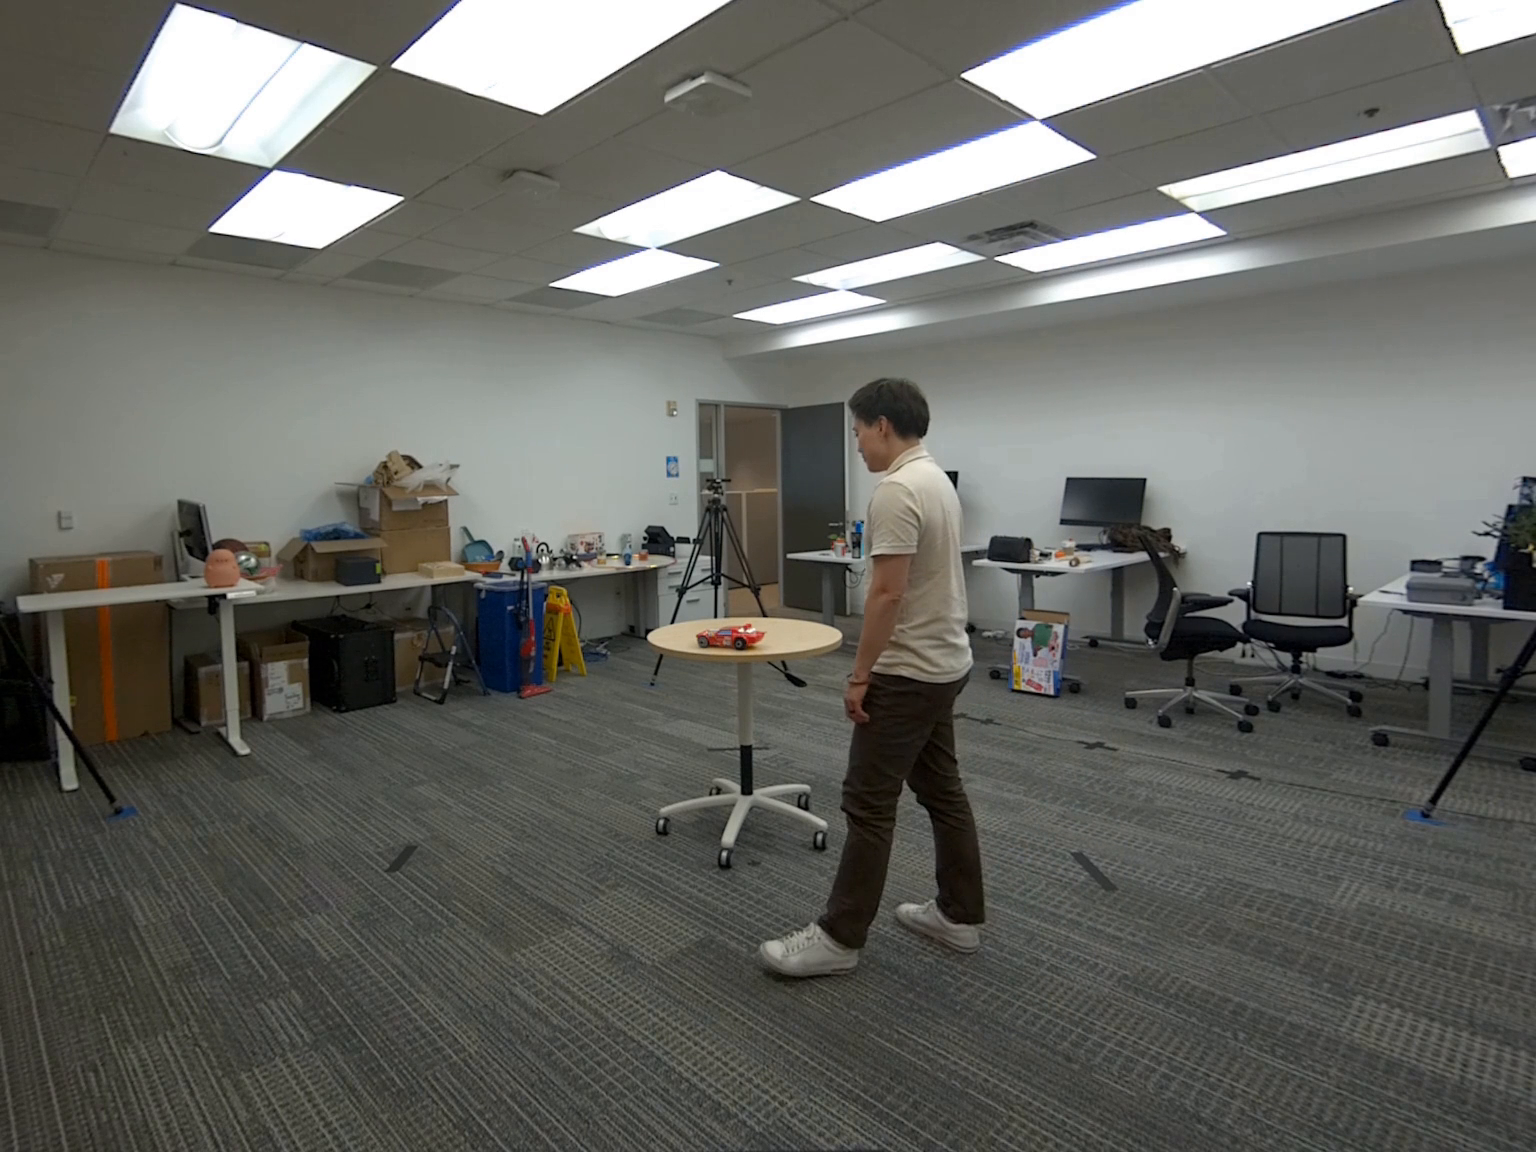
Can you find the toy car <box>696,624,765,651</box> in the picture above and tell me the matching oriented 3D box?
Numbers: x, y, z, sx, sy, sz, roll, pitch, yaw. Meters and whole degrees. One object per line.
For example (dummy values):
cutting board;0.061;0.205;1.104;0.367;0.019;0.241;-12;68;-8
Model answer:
toy car;-0.129;0.228;3.130;0.259;0.083;0.128;-10;2;23
